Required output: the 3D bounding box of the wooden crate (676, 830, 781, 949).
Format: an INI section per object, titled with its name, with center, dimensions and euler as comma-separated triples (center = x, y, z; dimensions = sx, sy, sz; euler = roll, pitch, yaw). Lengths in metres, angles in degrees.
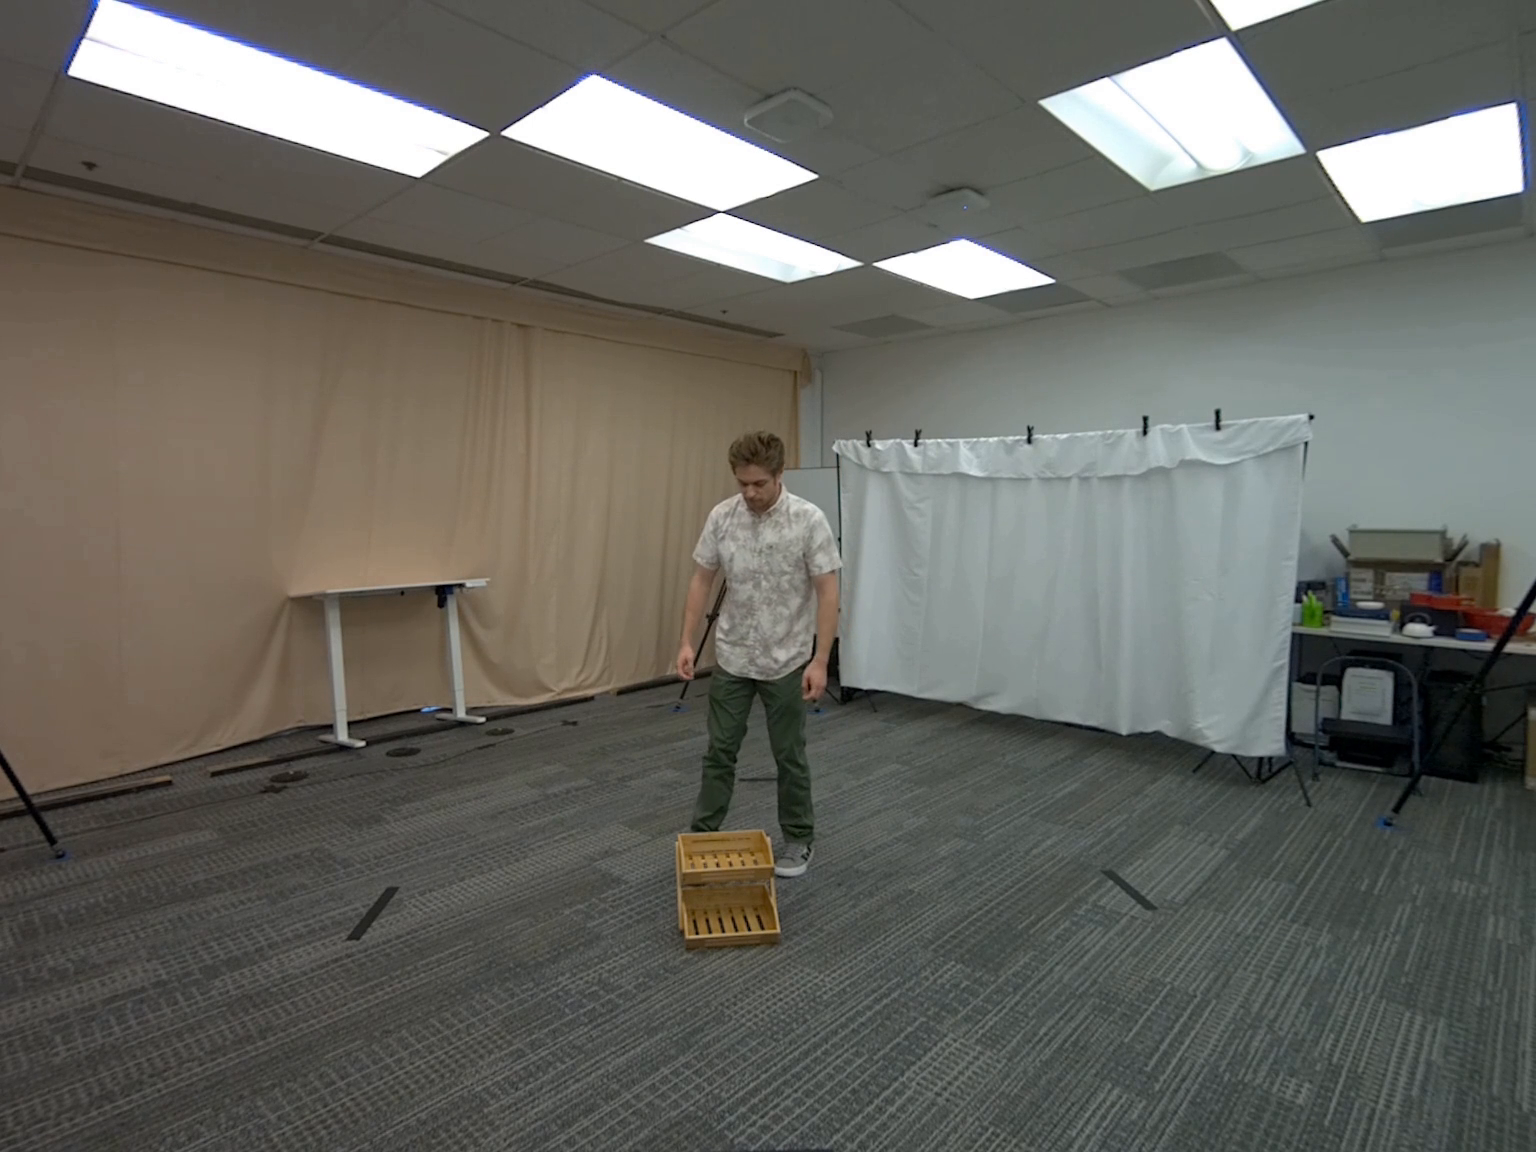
[wooden crate]
center = -0.134, 1.026, 2.779
dimensions = 0.322, 0.273, 0.305
euler = -1, 3, -9
